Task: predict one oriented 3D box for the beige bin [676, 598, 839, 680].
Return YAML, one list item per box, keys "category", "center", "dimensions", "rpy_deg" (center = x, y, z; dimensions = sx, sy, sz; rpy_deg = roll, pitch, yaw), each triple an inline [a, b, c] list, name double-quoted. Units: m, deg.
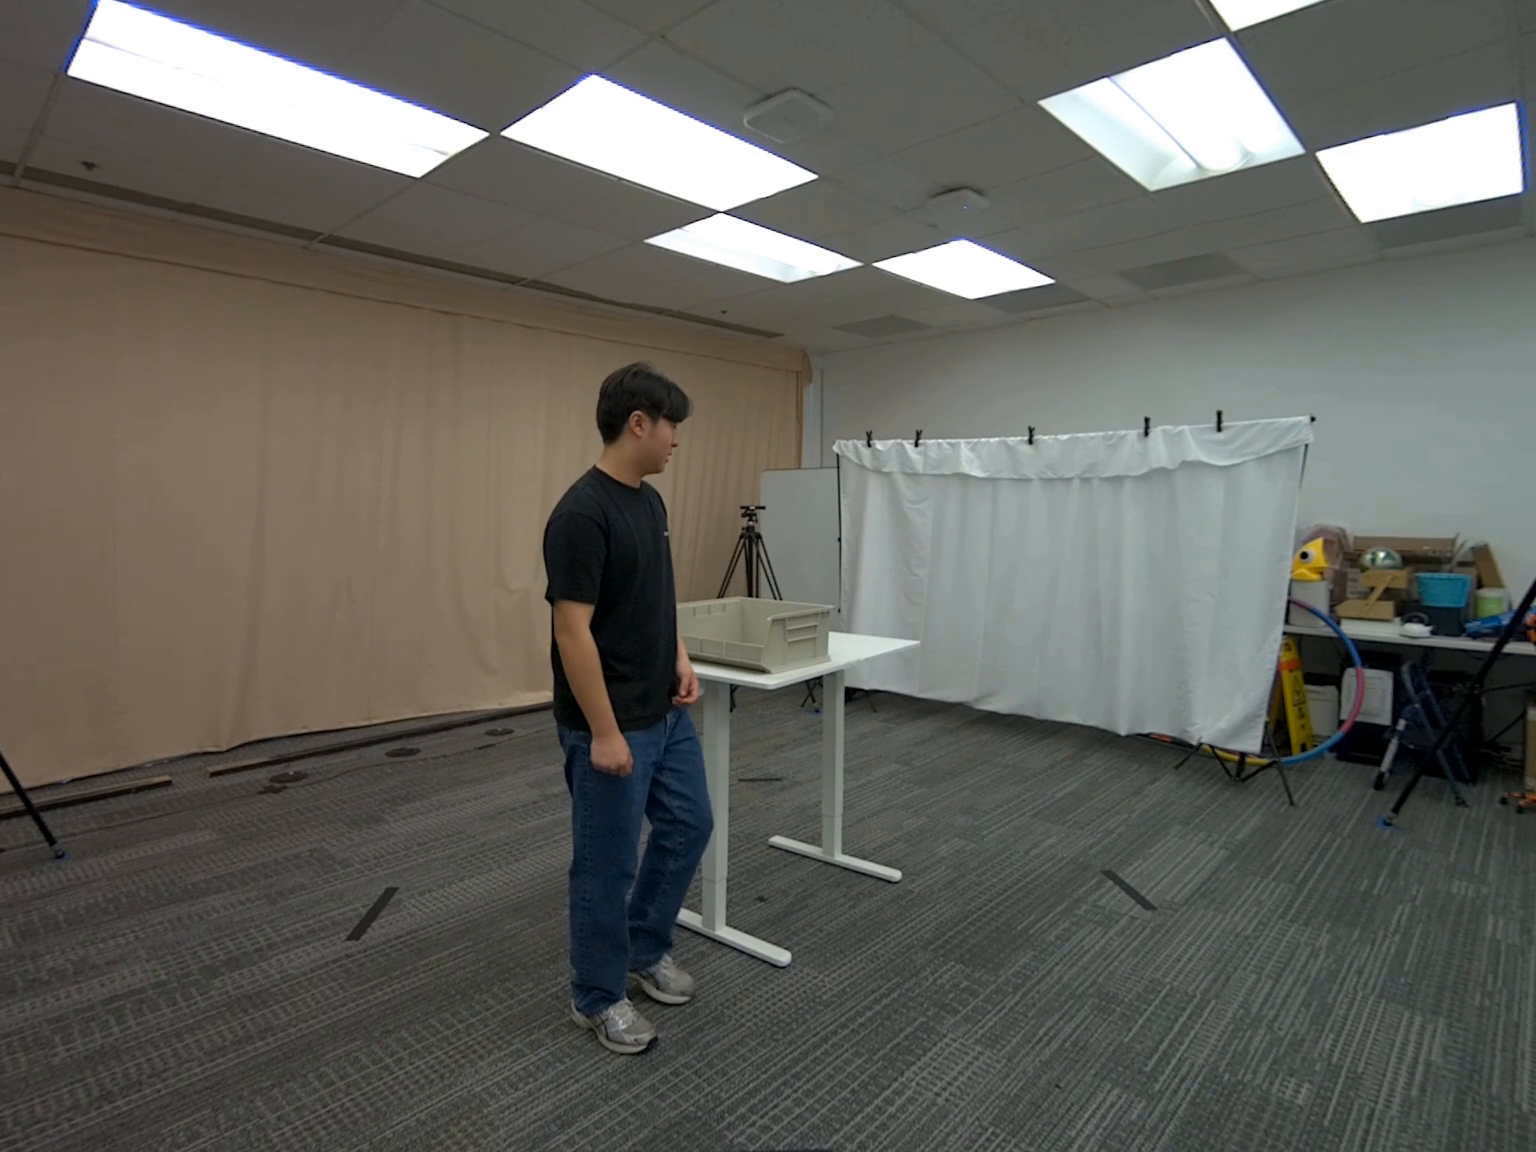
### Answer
- category: "beige bin"
  center: [-0.056, 0.192, 2.767]
  dimensions: [0.436, 0.189, 0.365]
  rpy_deg: [4, 4, 41]
